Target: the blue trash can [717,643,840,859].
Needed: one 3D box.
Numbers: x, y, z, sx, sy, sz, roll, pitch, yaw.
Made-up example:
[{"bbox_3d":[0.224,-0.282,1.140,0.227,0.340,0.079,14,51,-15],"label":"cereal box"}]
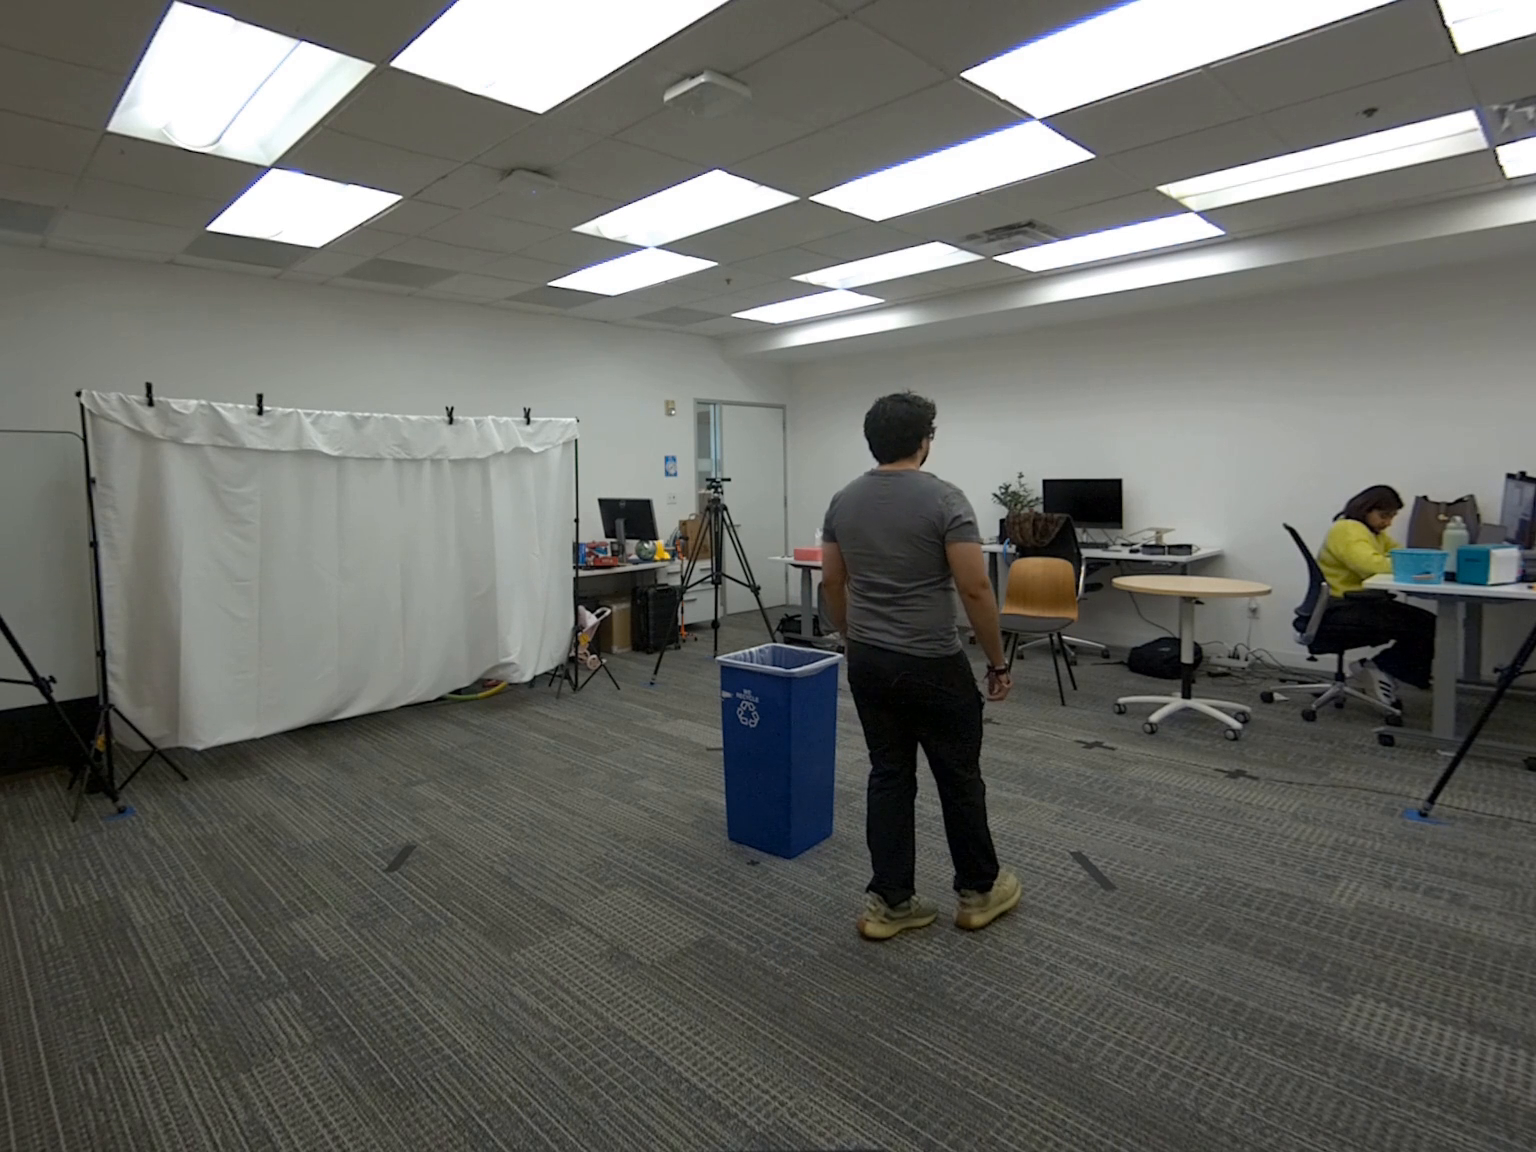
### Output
[{"bbox_3d":[0.056,0.660,3.304,0.385,0.711,0.368,3,5,39],"label":"blue trash can"}]
